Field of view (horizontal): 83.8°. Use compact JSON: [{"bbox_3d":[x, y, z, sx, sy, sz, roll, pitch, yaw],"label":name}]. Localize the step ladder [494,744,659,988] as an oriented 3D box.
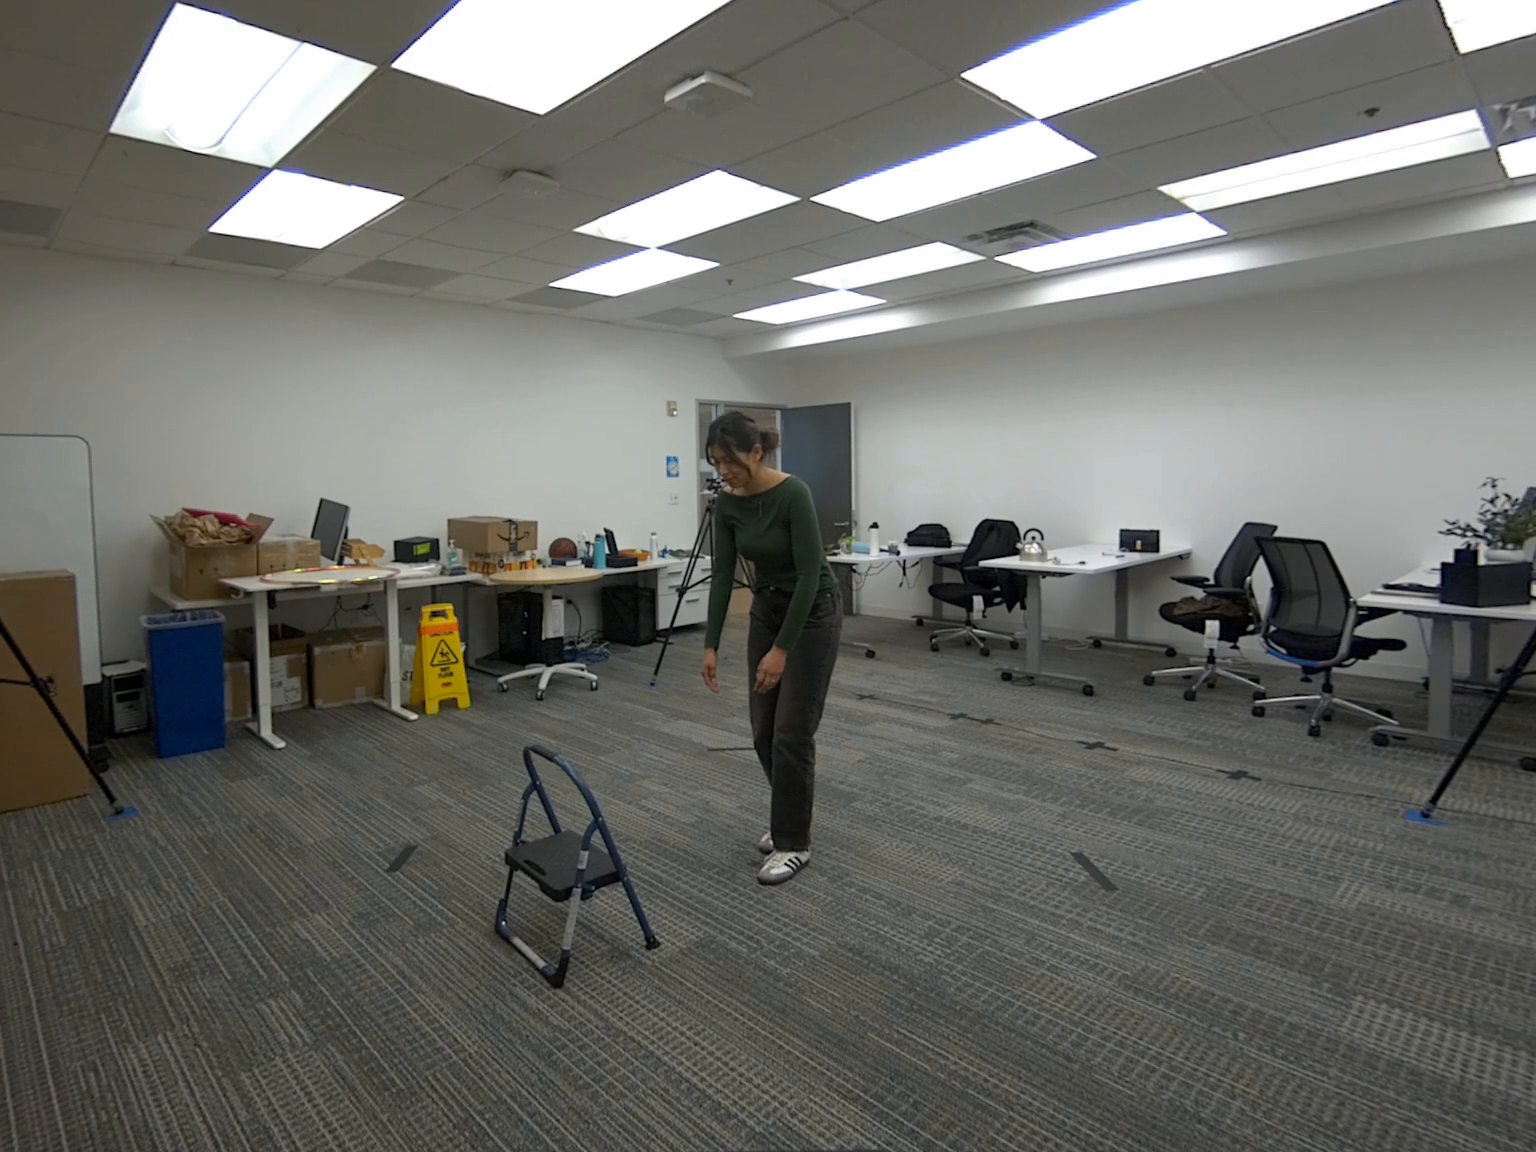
[{"bbox_3d":[-0.597,0.811,2.607,0.340,0.604,0.444,-5,6,-41],"label":"step ladder"}]
